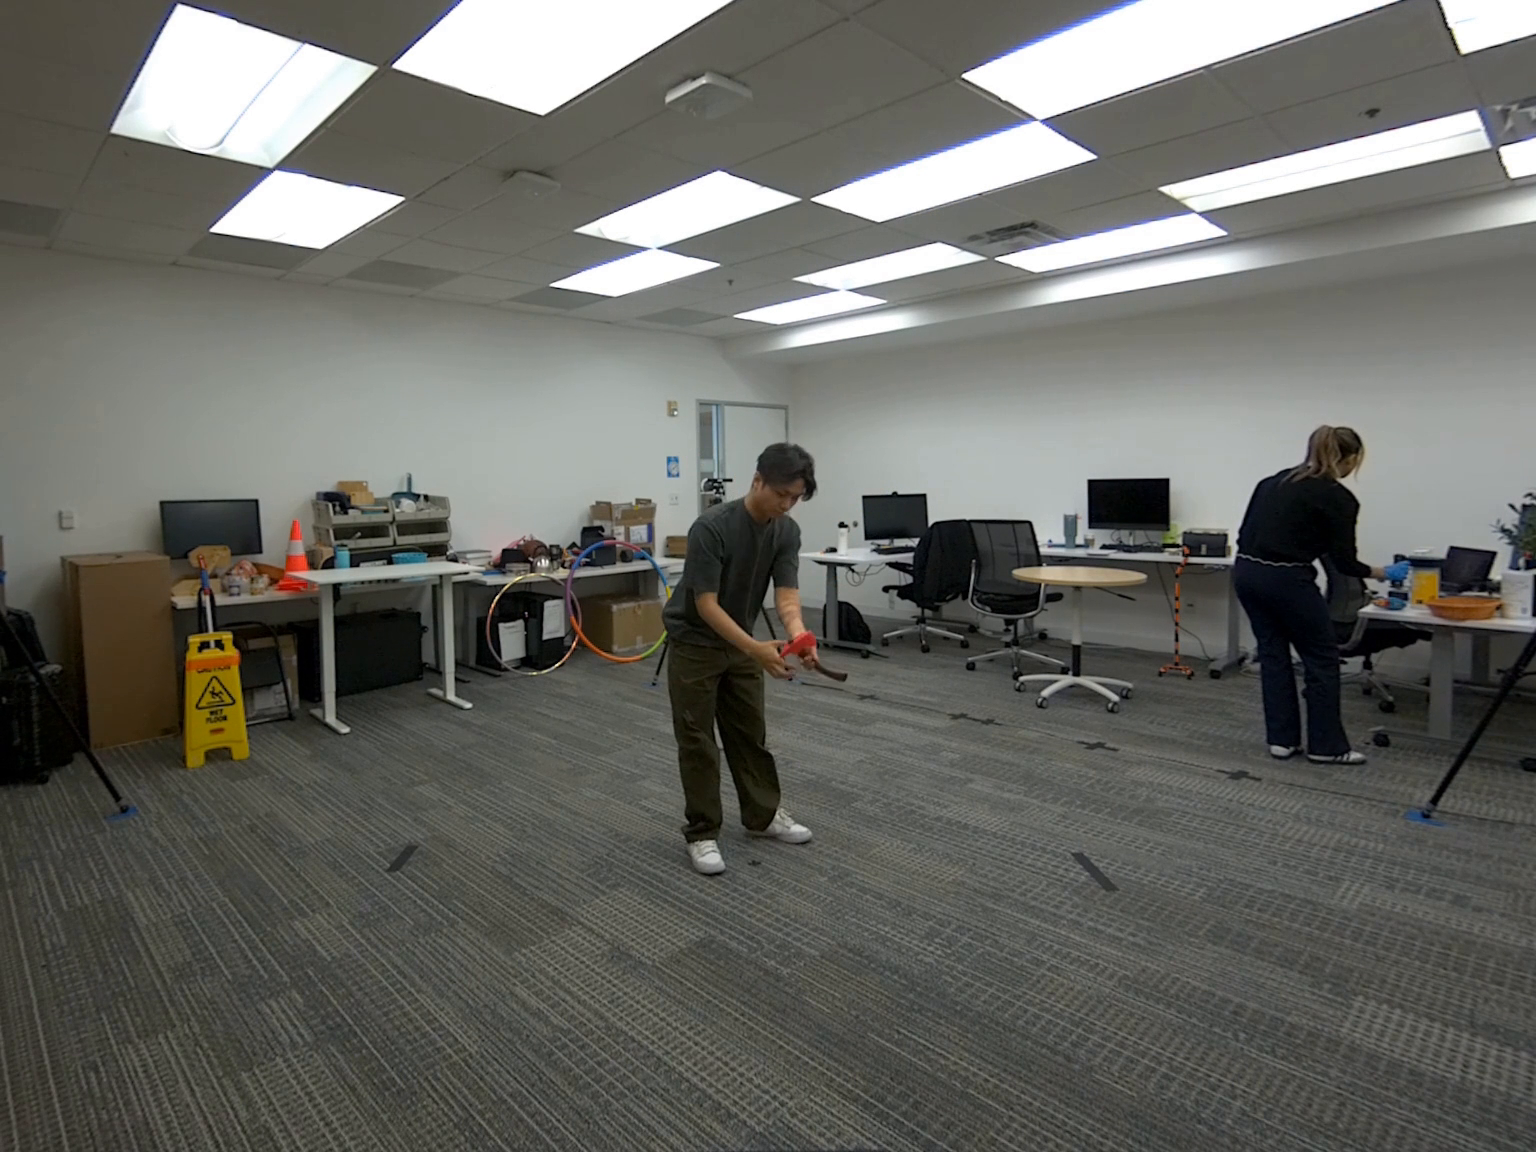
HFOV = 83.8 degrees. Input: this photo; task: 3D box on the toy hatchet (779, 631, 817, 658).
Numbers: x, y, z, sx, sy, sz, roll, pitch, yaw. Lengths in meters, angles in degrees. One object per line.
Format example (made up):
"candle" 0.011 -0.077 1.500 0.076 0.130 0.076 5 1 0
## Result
"toy hatchet" 0.176 0.256 2.843 0.264 0.130 0.030 14 19 -19
